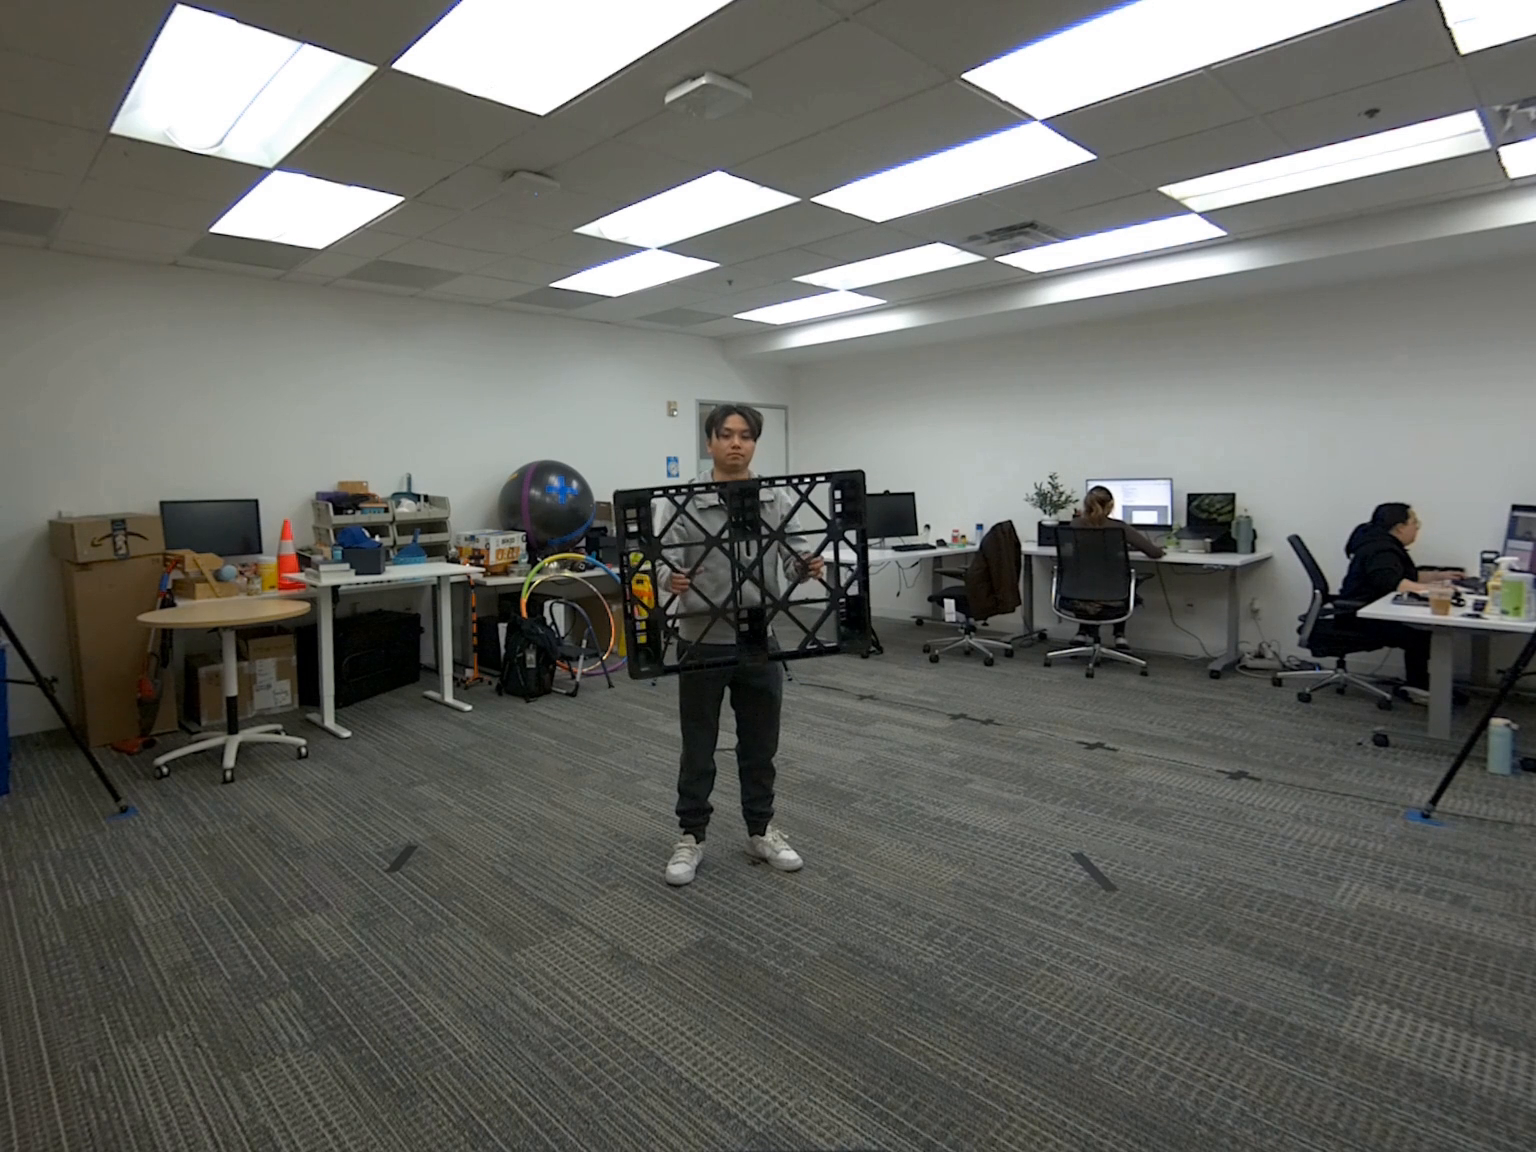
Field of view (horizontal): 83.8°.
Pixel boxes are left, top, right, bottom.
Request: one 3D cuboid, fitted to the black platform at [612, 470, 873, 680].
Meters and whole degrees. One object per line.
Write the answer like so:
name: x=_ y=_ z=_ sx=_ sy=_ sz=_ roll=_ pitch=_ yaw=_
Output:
black platform: x=-0.068 y=-0.013 z=2.744 sx=0.798 sy=0.599 sz=0.146 roll=-6 pitch=11 yaw=-10
